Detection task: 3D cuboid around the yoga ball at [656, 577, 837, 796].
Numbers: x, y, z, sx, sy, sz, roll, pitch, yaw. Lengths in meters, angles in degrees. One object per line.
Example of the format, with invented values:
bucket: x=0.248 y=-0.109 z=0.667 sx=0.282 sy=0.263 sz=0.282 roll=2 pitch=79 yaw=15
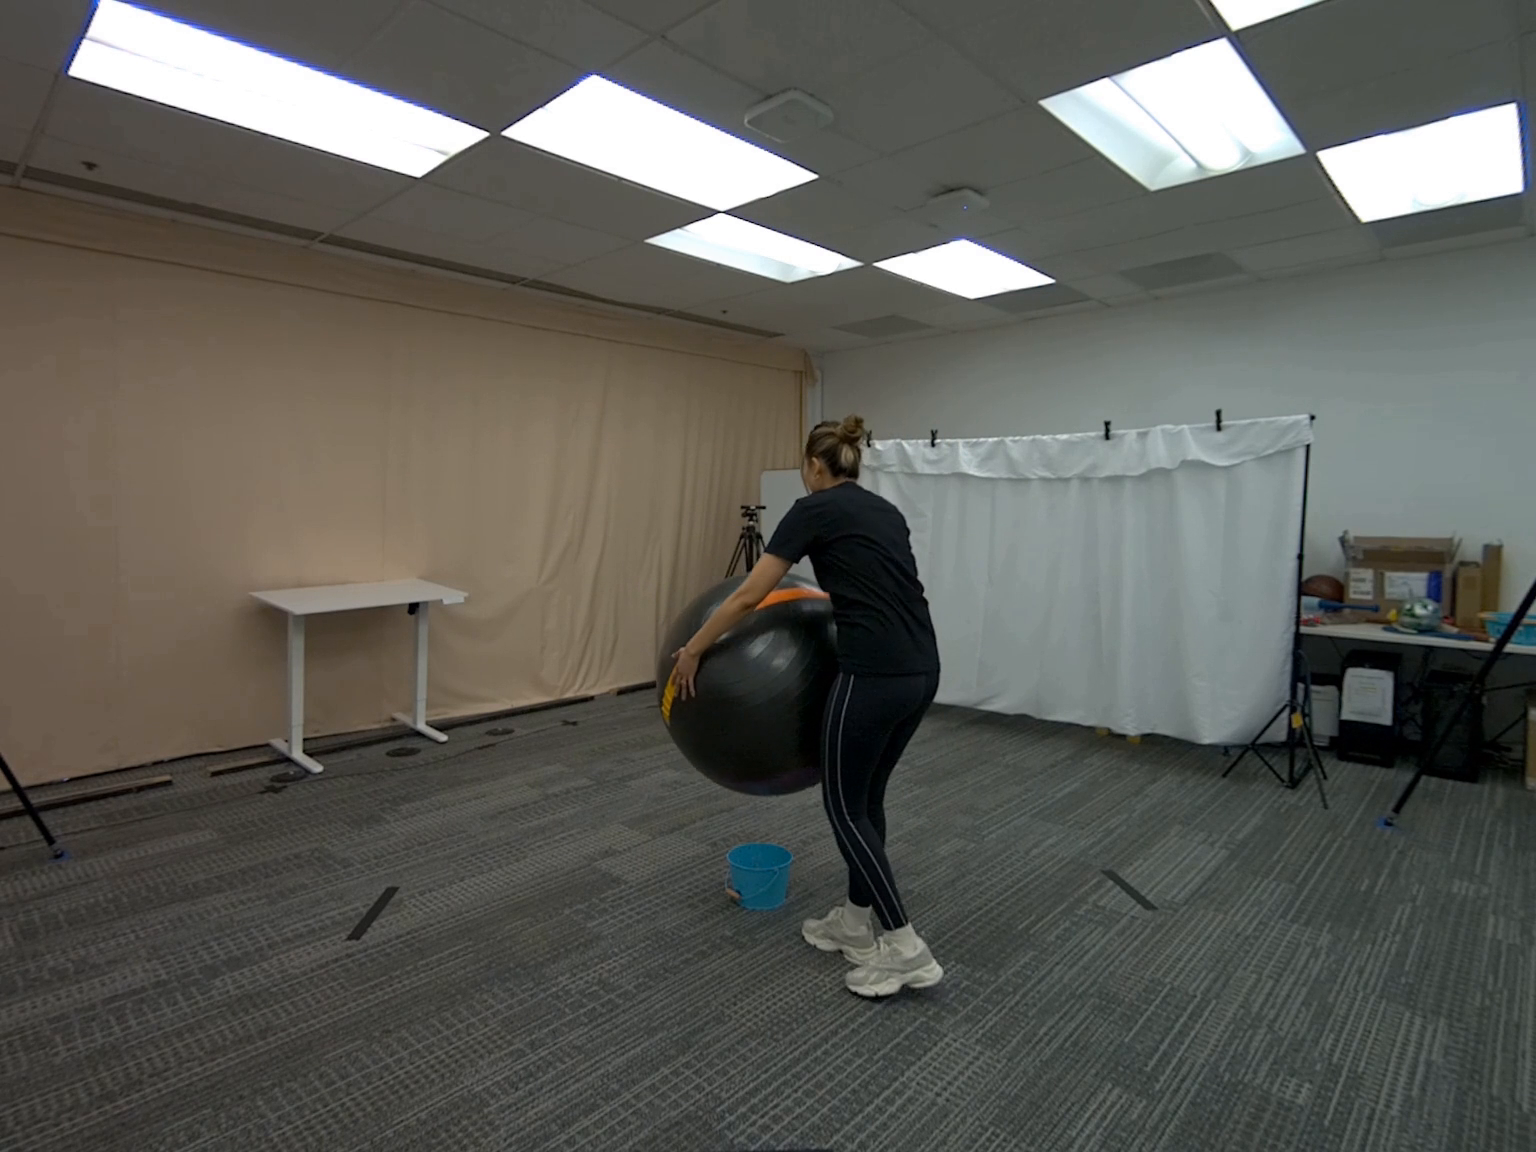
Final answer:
yoga ball: x=0.000 y=0.361 z=2.882 sx=0.757 sy=0.756 sz=0.761 roll=0 pitch=4 yaw=-2
